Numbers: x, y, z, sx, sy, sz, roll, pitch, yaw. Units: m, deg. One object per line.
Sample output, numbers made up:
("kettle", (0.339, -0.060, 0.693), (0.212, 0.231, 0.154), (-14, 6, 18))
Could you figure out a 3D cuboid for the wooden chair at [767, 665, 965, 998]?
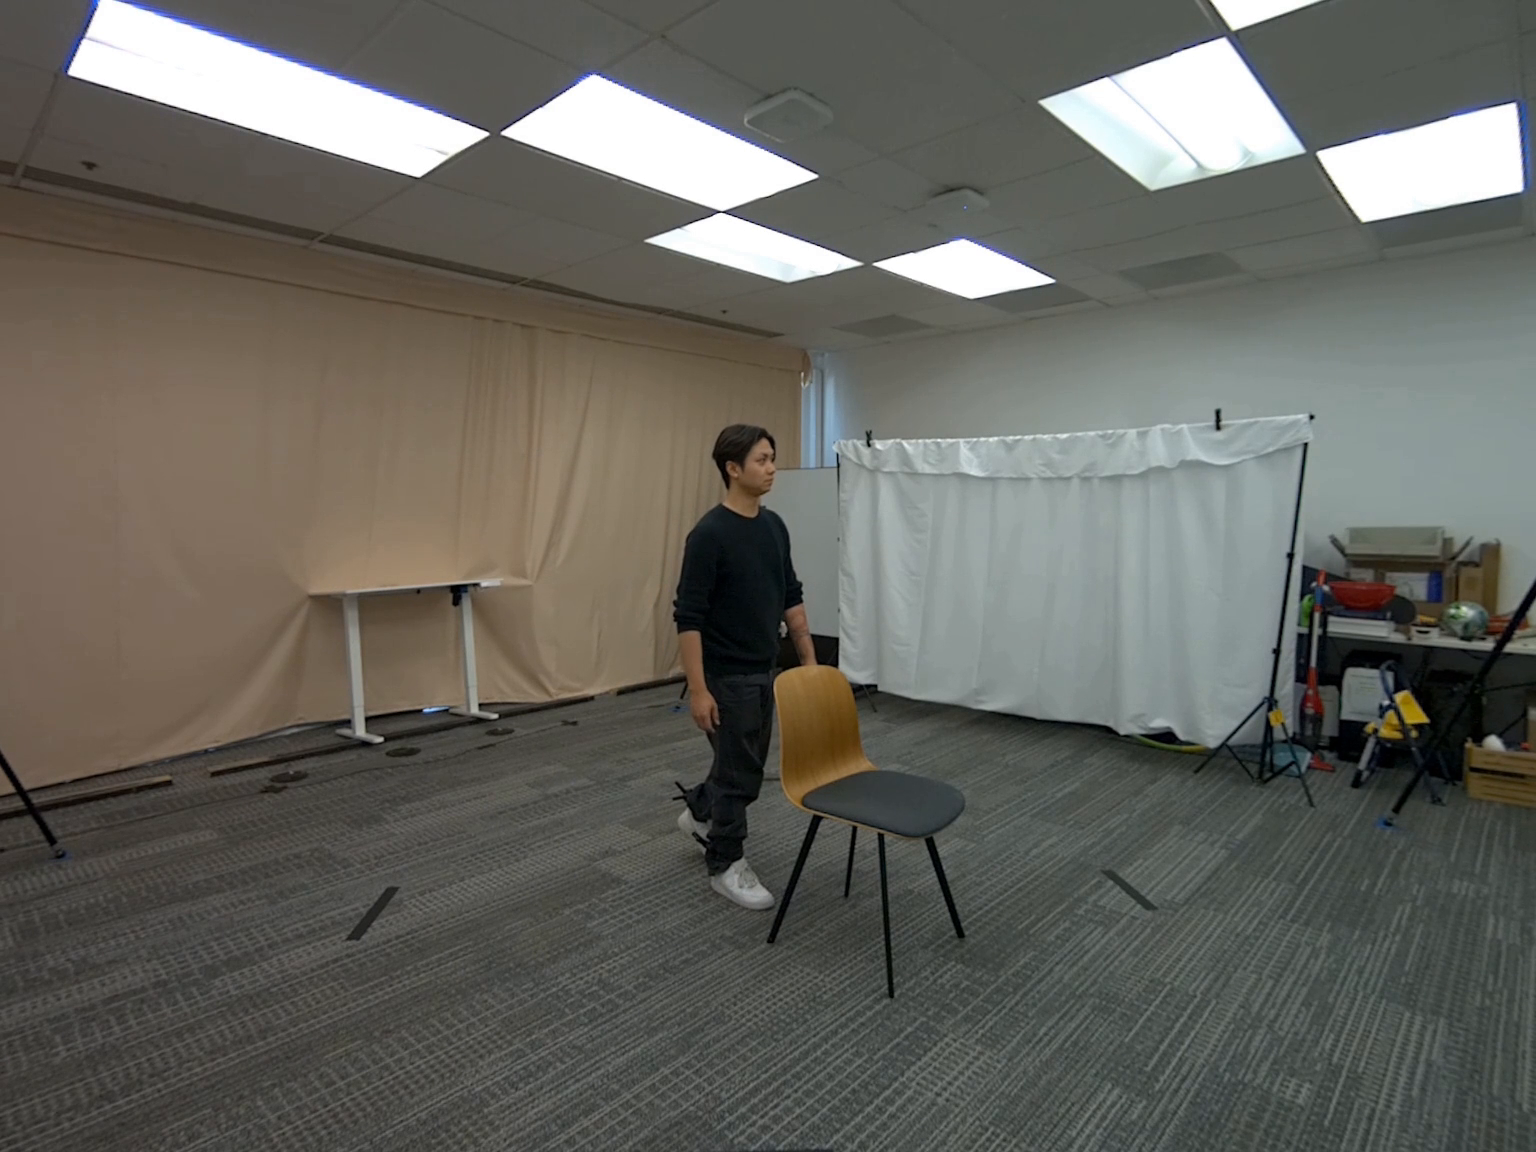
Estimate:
("wooden chair", (0.325, 0.743, 2.658), (0.539, 0.877, 0.463), (-3, 0, 41))
